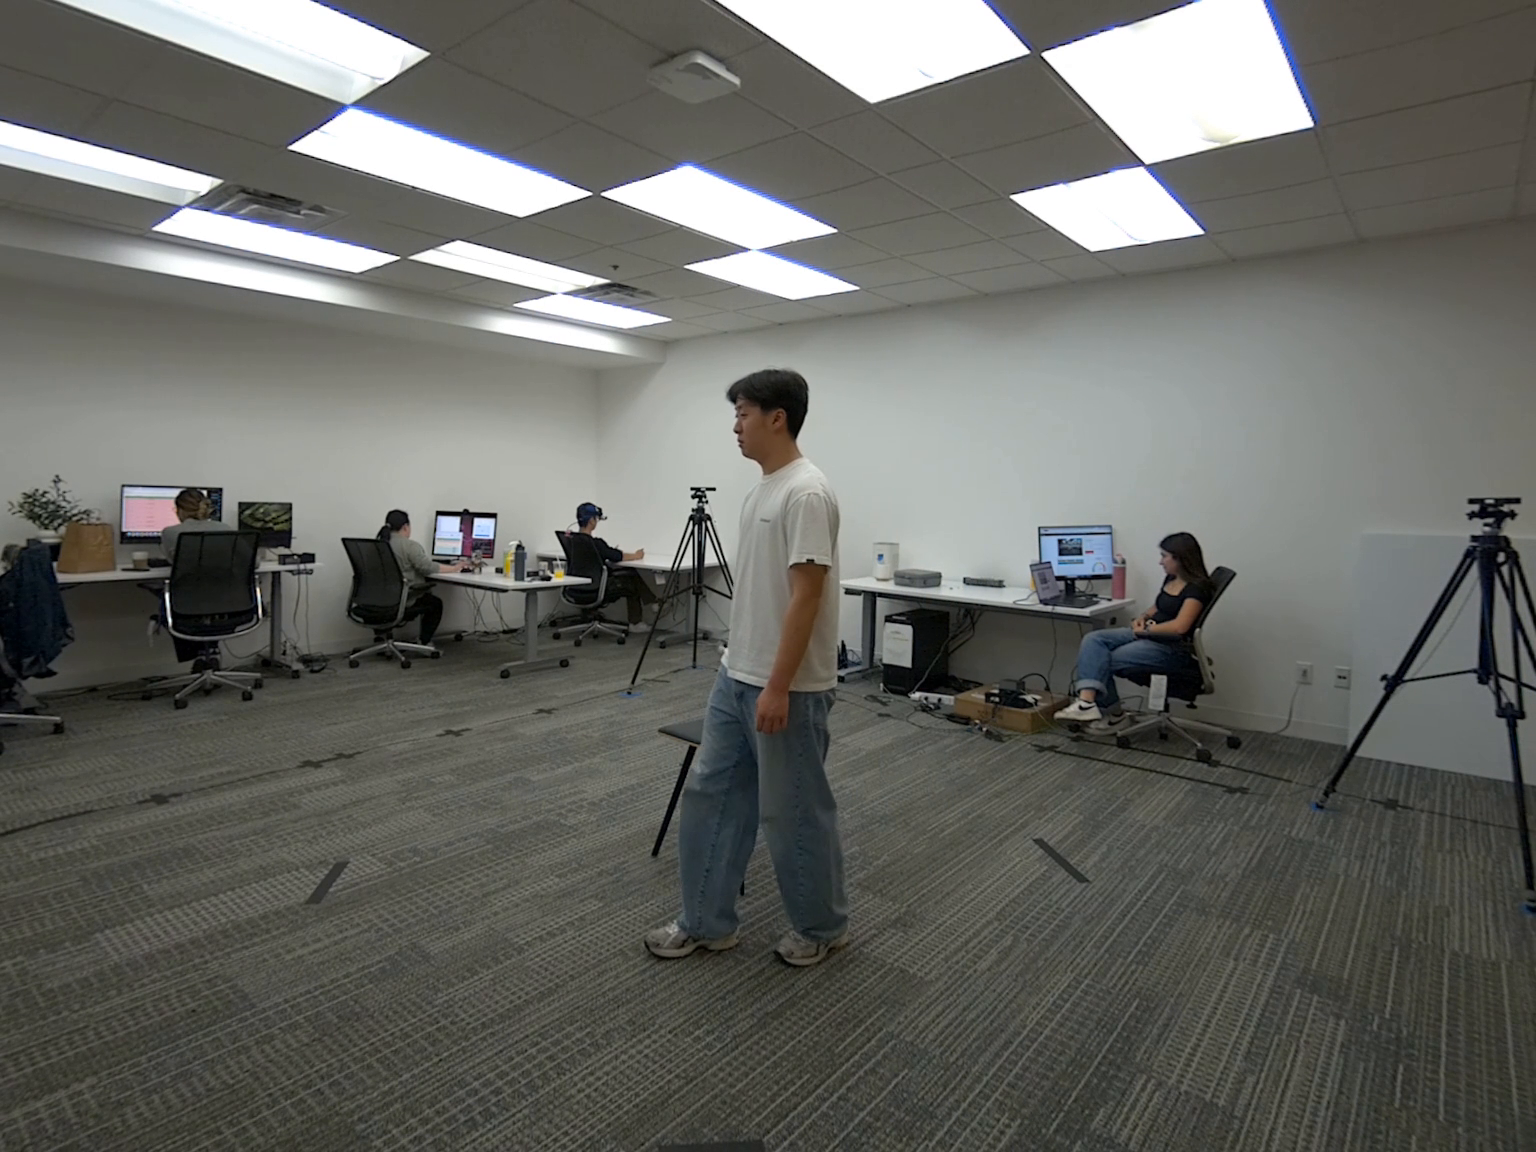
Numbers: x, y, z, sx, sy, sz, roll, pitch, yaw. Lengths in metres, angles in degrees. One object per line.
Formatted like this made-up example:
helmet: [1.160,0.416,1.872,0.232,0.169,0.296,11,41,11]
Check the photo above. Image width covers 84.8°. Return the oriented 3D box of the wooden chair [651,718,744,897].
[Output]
wooden chair: [-0.125,0.630,3.191,0.542,0.873,0.463,10,8,40]
